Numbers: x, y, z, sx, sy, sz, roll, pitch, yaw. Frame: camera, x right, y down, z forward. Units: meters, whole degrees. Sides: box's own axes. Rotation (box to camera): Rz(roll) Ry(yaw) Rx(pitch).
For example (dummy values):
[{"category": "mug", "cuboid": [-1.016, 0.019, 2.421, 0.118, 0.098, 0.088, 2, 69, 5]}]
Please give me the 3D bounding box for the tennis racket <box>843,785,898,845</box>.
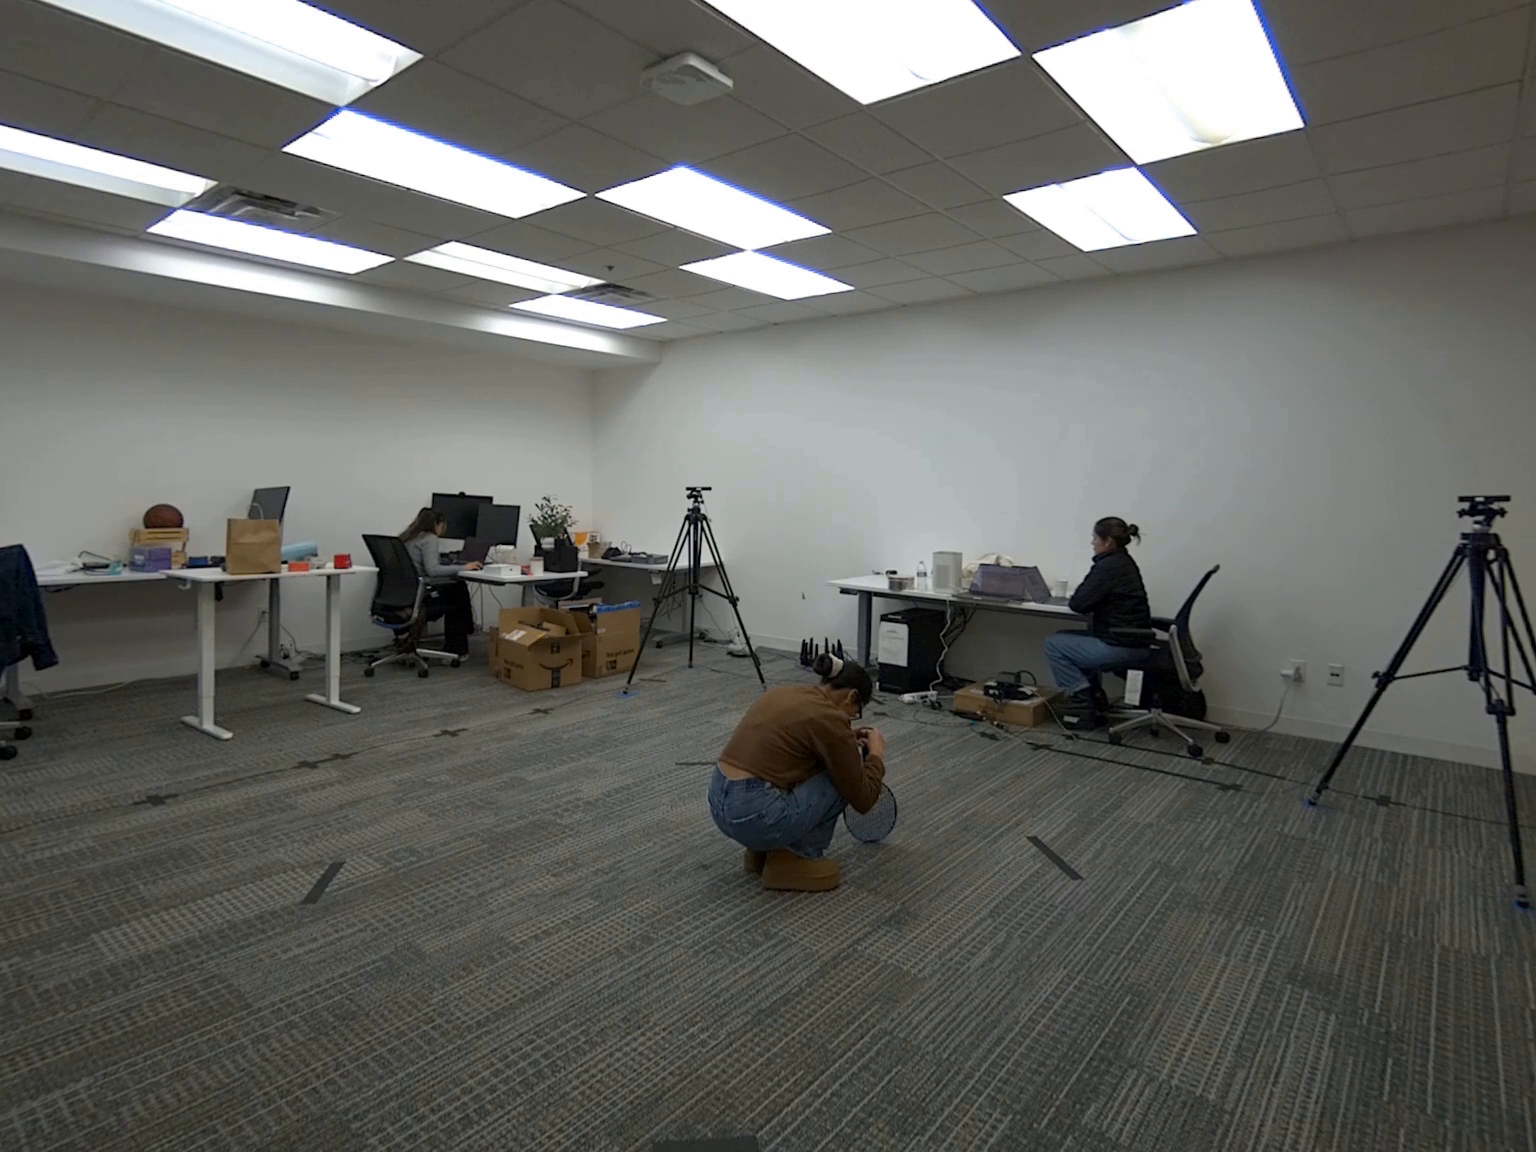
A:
[{"category": "tennis racket", "cuboid": [0.386, 0.845, 3.334, 0.212, 0.429, 0.032, -5, 8, -6]}]
